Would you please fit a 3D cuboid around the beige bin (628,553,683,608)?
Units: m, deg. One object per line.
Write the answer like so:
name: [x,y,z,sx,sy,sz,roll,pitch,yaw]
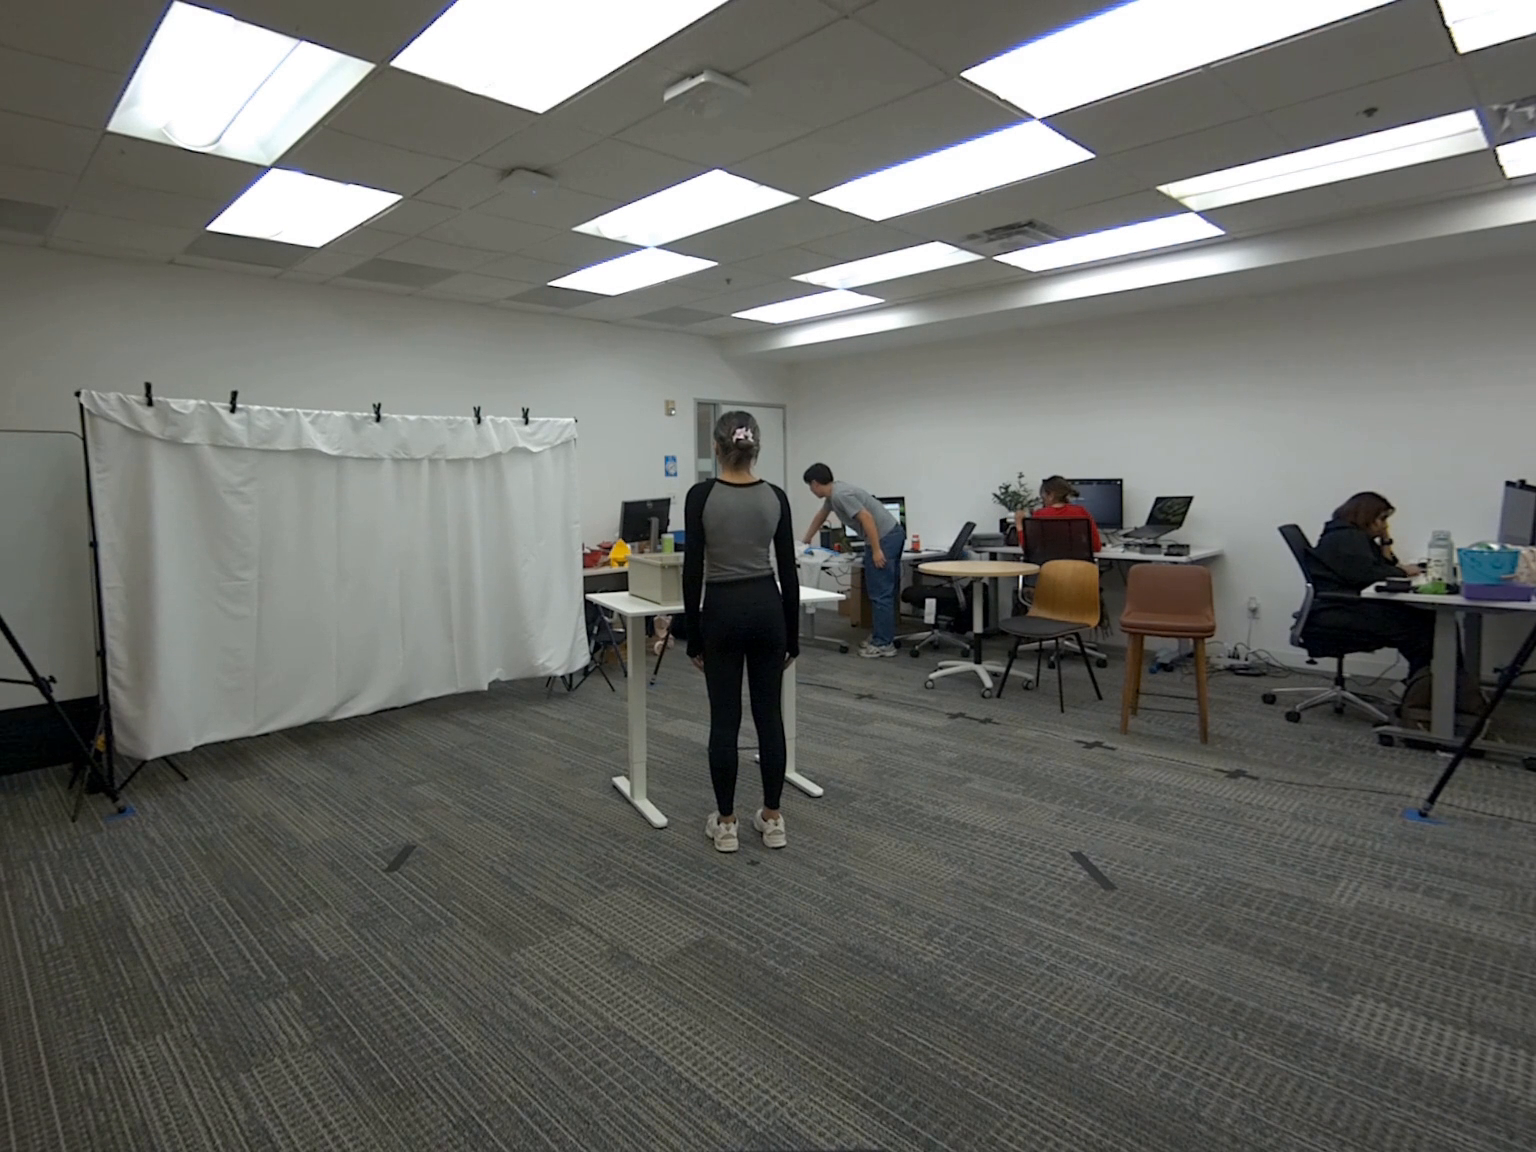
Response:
beige bin: [-0.373,0.010,3.717,0.369,0.188,0.434,-4,7,-28]
